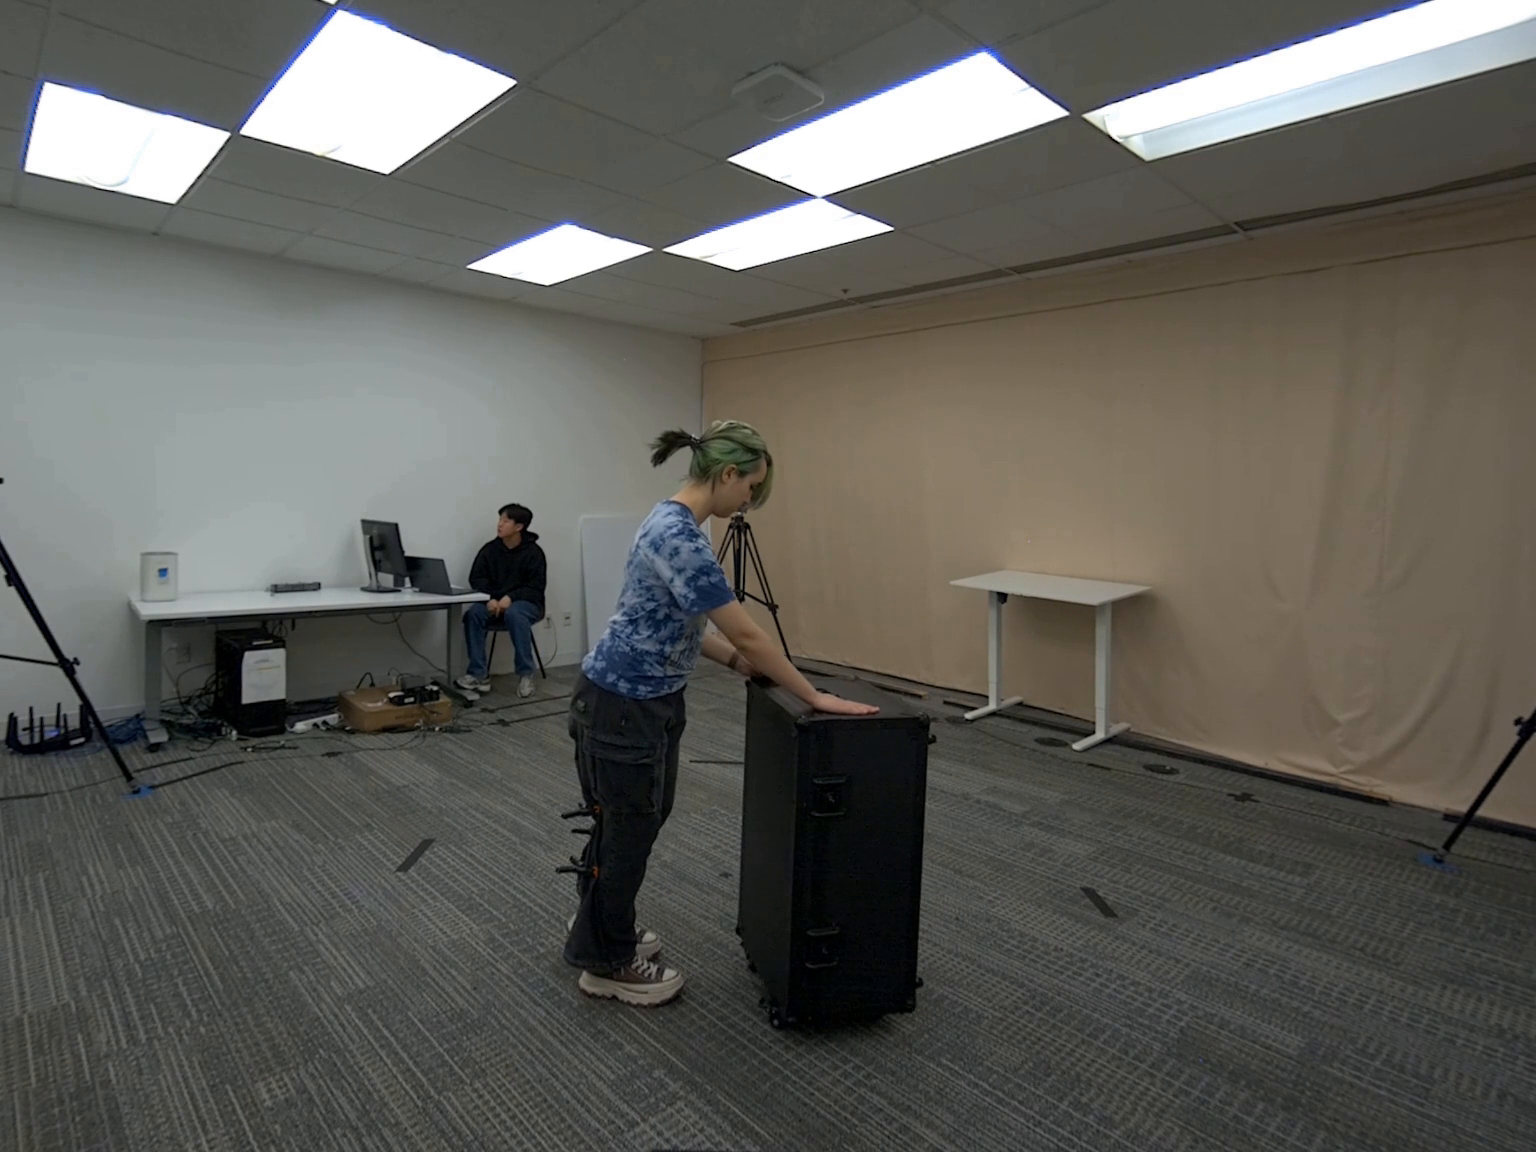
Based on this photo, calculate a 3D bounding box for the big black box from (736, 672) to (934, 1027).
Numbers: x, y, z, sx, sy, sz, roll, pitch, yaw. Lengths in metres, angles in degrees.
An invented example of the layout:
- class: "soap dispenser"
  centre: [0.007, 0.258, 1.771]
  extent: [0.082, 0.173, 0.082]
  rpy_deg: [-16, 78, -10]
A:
- class: "big black box"
  centre: [0.158, 0.758, 2.360]
  extent: [0.391, 0.860, 0.529]
  rpy_deg: [2, 3, -16]
